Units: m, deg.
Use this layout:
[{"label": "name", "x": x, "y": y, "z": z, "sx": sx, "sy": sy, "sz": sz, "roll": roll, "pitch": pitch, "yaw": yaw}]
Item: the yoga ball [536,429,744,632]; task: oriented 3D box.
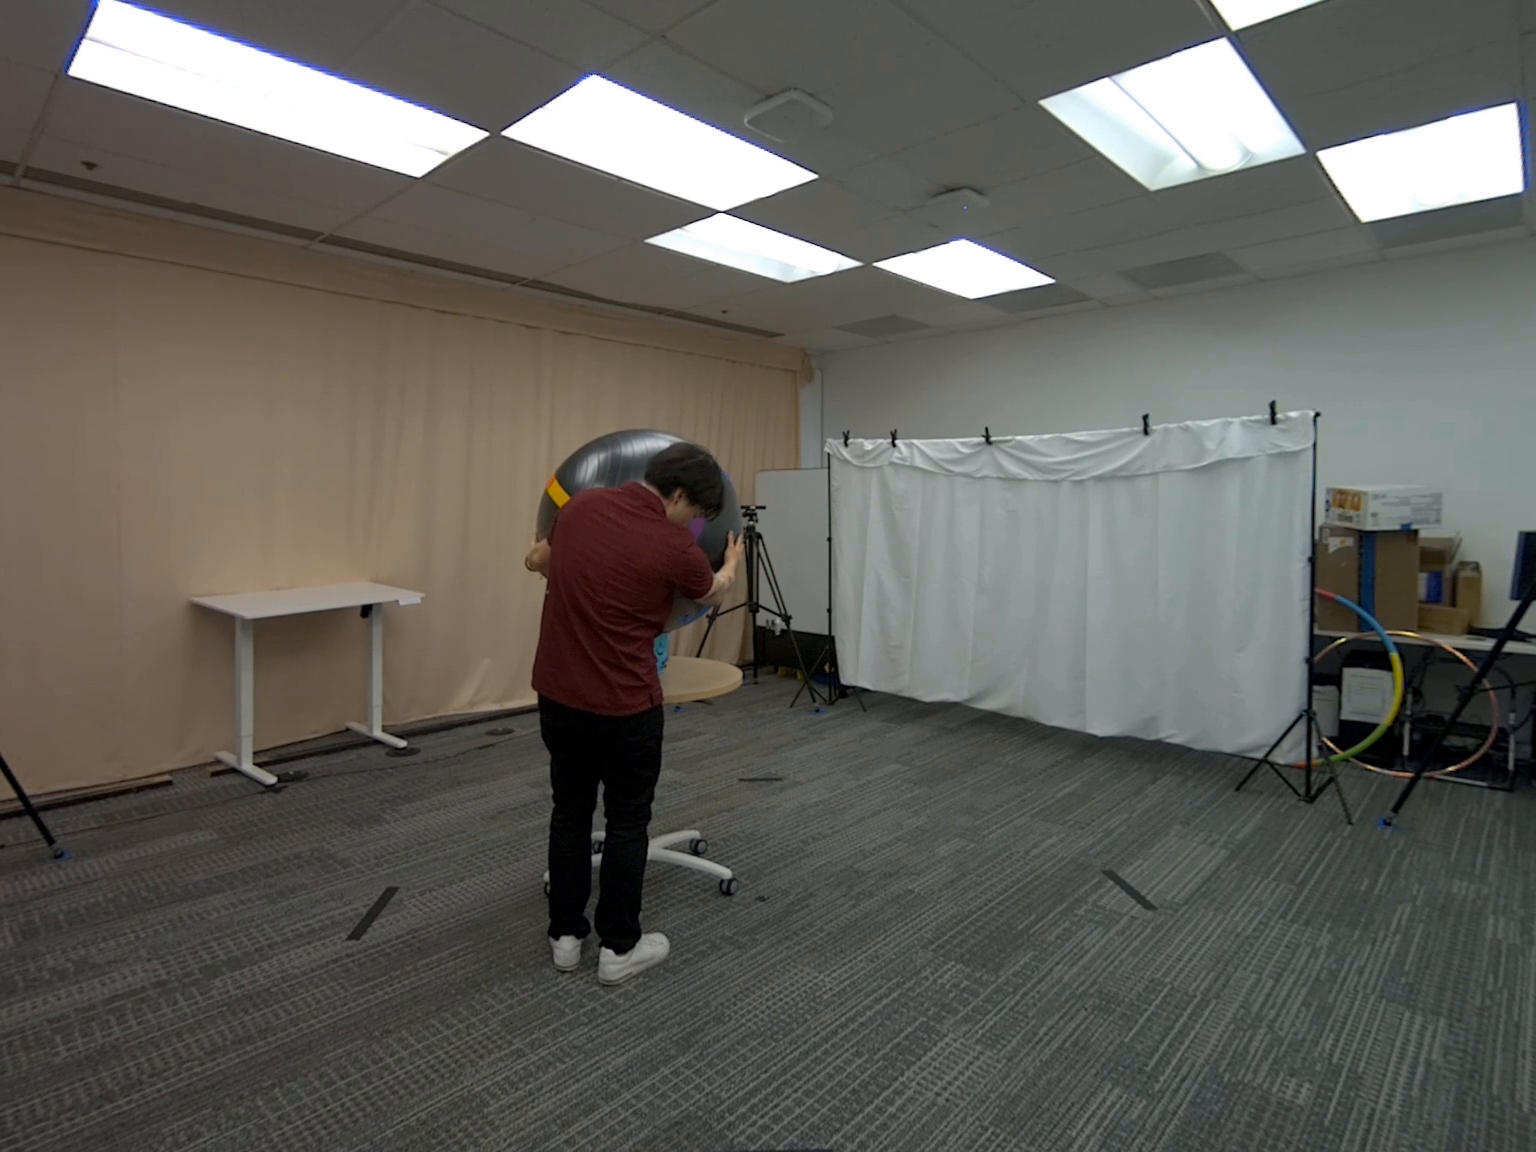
[{"label": "yoga ball", "x": -0.471, "y": -0.159, "z": 3.107, "sx": 0.757, "sy": 0.756, "sz": 0.761, "roll": 0, "pitch": 4, "yaw": -2}]
